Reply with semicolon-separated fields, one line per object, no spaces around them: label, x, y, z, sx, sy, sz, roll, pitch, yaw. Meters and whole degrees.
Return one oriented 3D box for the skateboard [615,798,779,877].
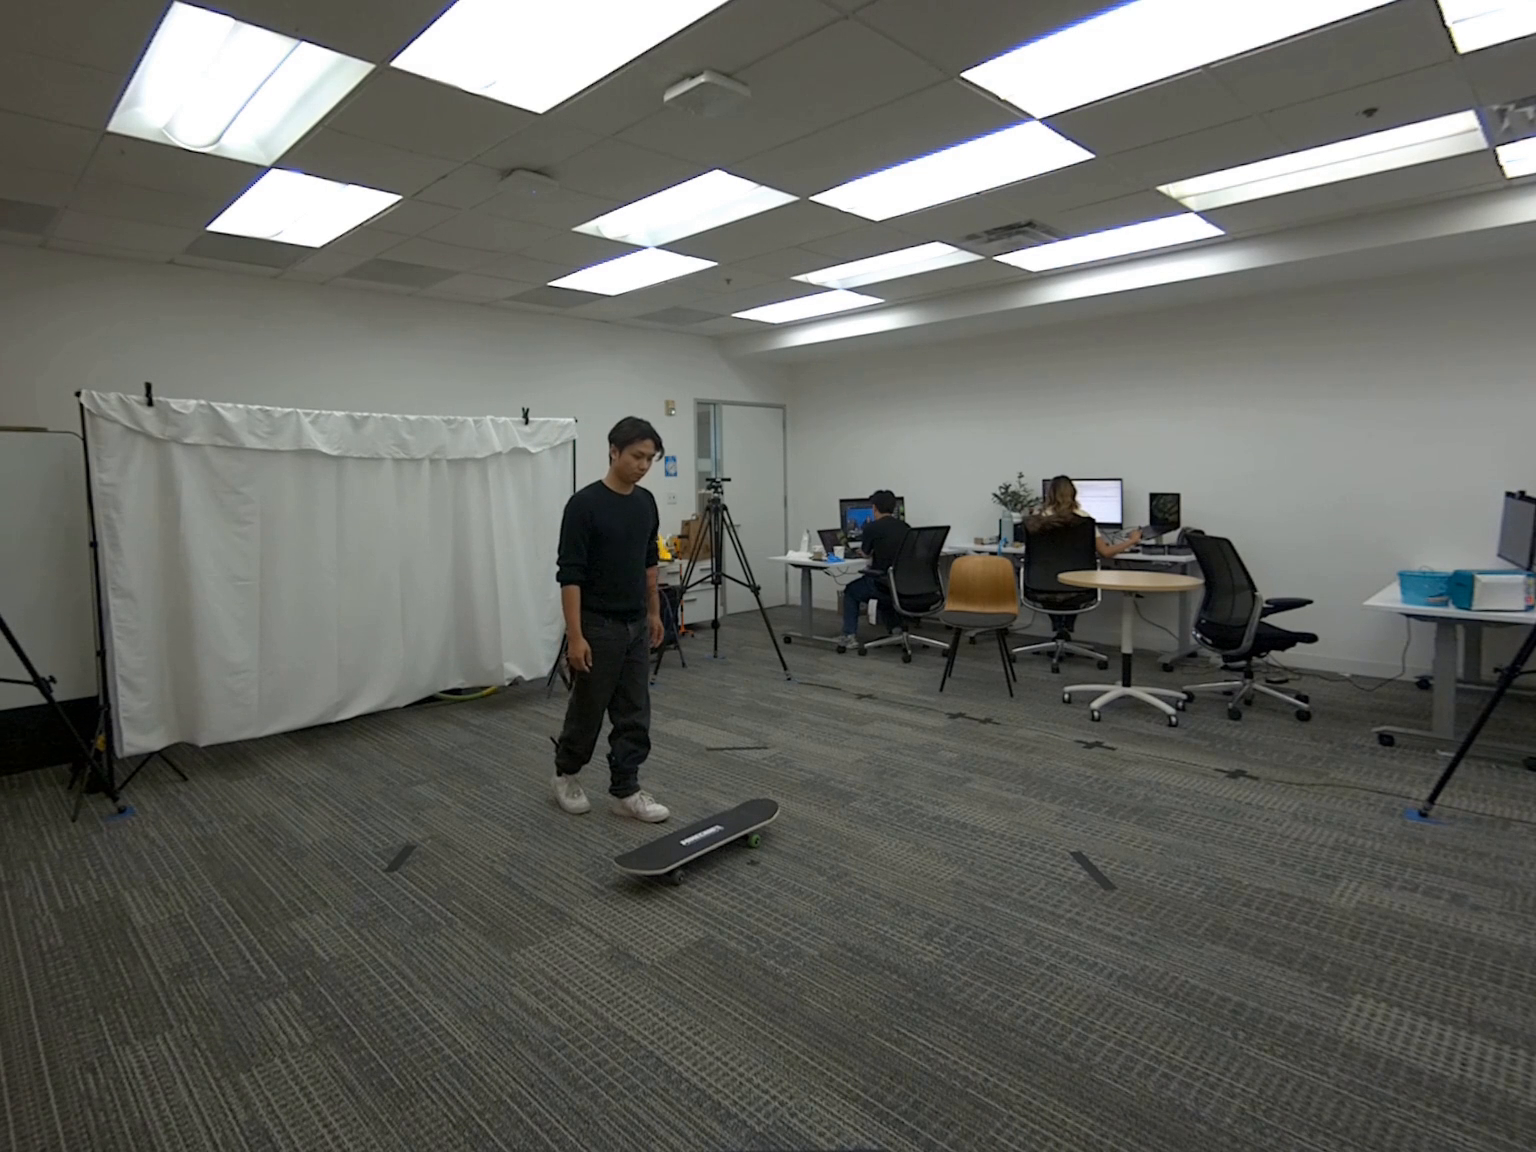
skateboard;-0.239;0.980;3.147;0.199;0.110;0.765;5;9;41
